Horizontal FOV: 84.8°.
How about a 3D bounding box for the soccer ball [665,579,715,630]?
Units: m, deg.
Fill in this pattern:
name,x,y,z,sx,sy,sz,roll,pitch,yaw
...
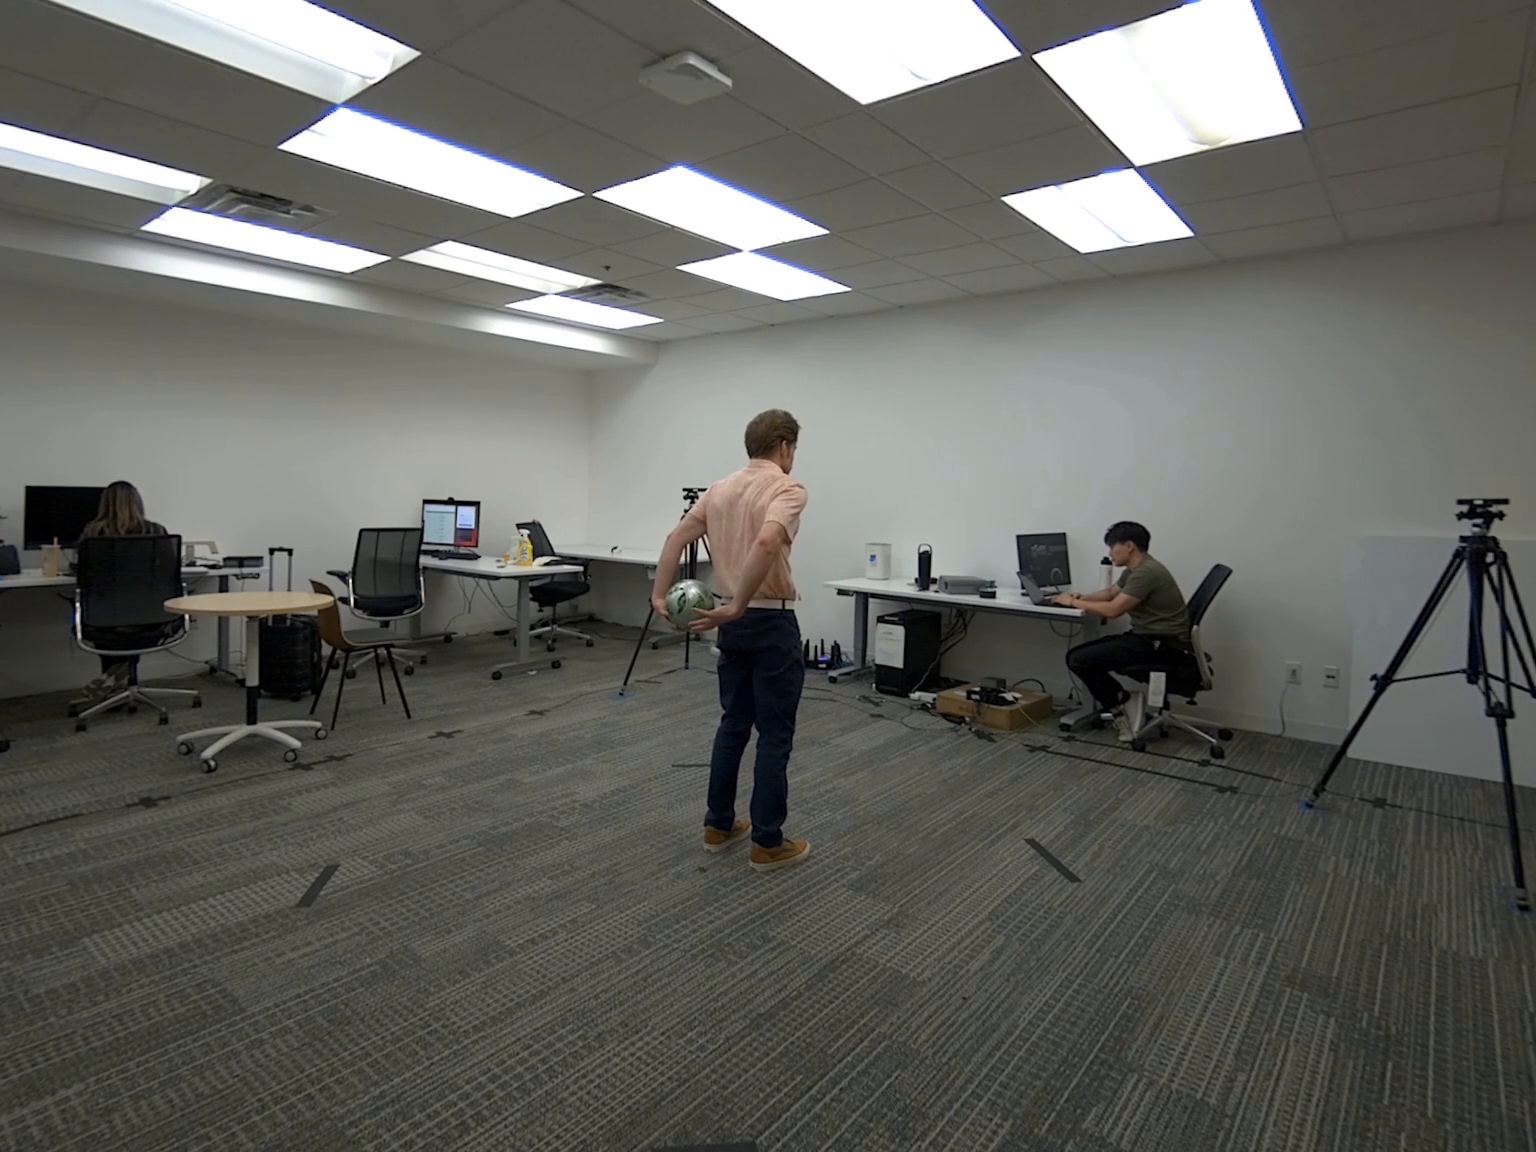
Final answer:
name,x,y,z,sx,sy,sz,roll,pitch,yaw
soccer ball,-0.296,0.109,3.159,0.187,0.187,0.188,1,4,-2
